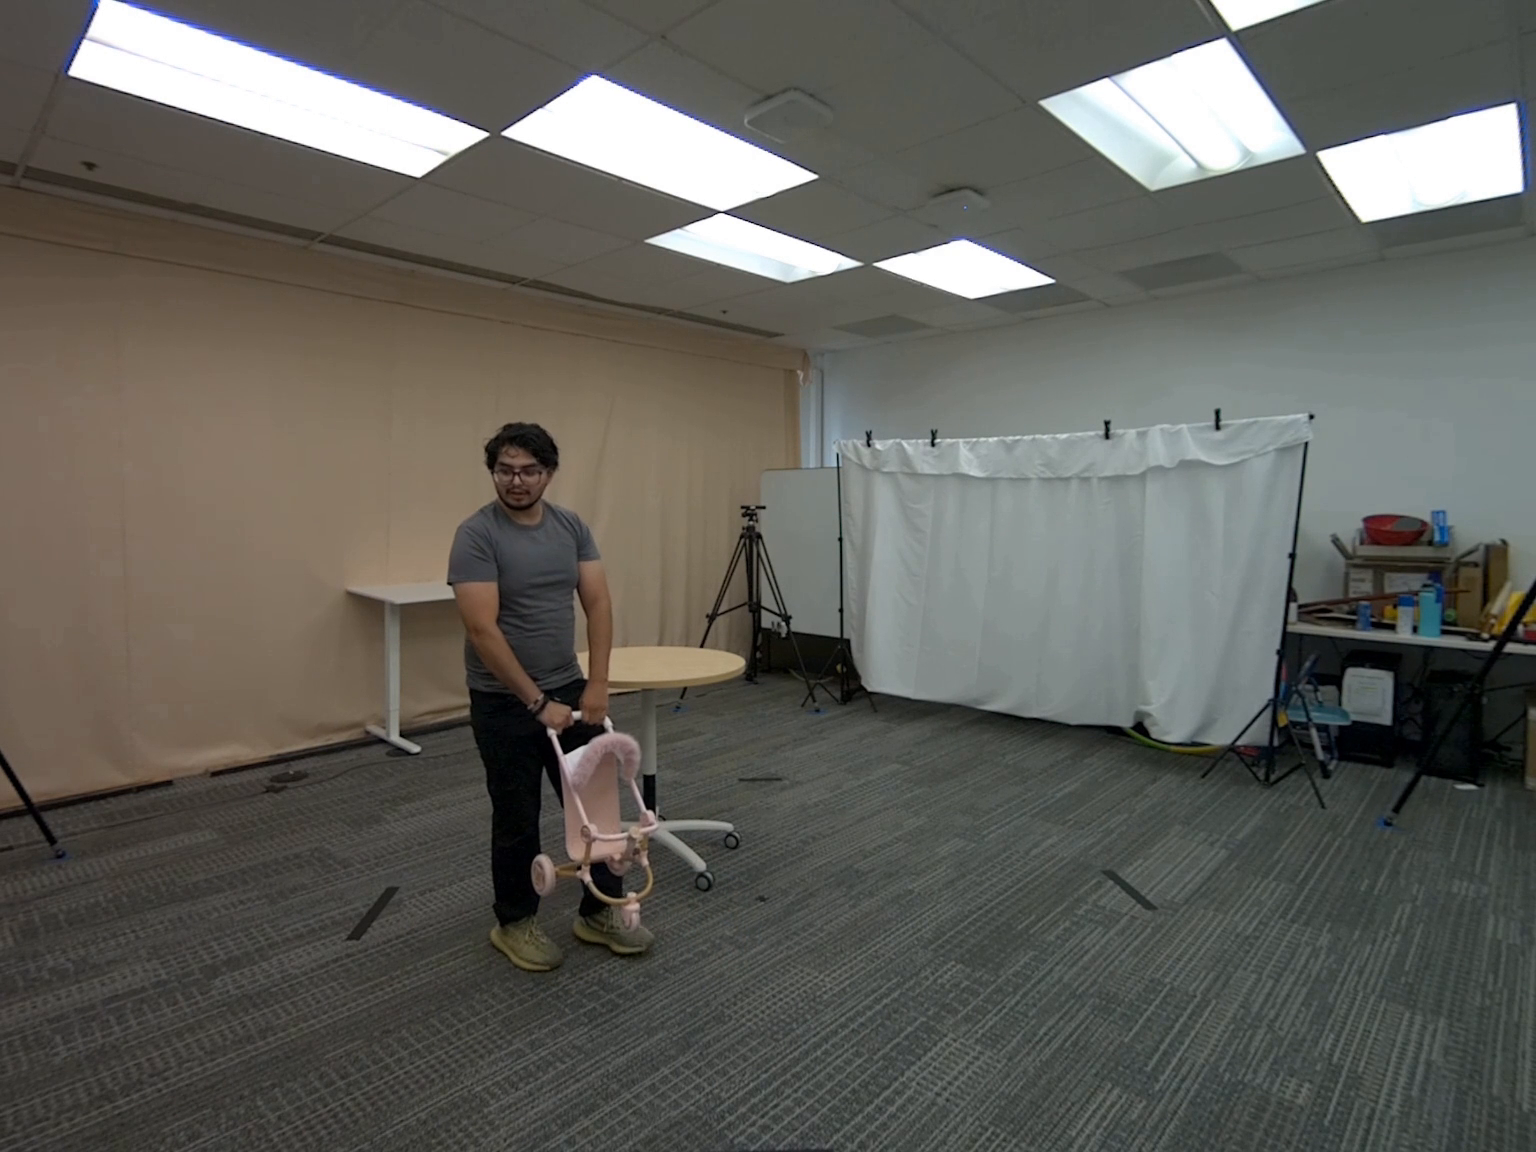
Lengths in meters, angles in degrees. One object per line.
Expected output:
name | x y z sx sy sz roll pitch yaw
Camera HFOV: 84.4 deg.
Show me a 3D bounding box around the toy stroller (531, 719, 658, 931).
toy stroller | -0.446 0.664 2.297 0.272 0.536 0.352 3 -3 -40
